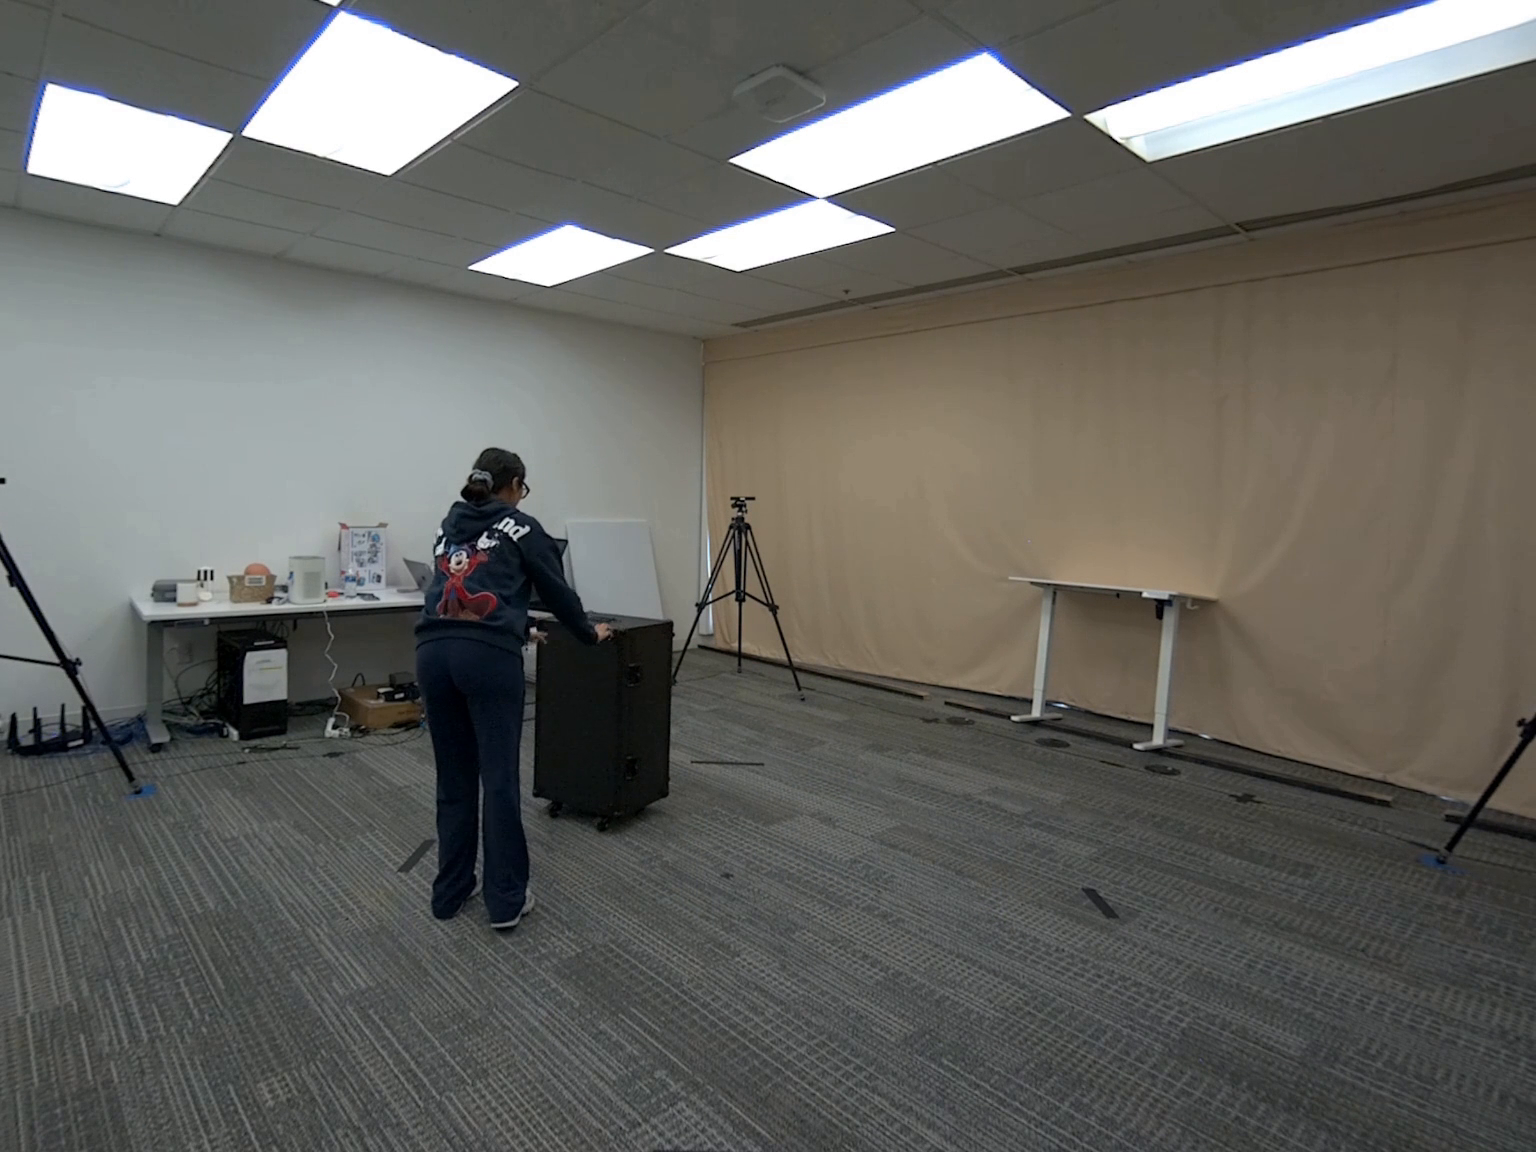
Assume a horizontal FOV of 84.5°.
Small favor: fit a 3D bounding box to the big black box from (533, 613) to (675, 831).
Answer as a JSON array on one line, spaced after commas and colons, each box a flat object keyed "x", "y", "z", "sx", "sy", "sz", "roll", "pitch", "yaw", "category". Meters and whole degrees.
[{"x": -0.731, "y": 0.612, "z": 3.695, "sx": 0.533, "sy": 0.860, "sz": 0.388, "roll": 4, "pitch": 3, "yaw": 30, "category": "big black box"}]
